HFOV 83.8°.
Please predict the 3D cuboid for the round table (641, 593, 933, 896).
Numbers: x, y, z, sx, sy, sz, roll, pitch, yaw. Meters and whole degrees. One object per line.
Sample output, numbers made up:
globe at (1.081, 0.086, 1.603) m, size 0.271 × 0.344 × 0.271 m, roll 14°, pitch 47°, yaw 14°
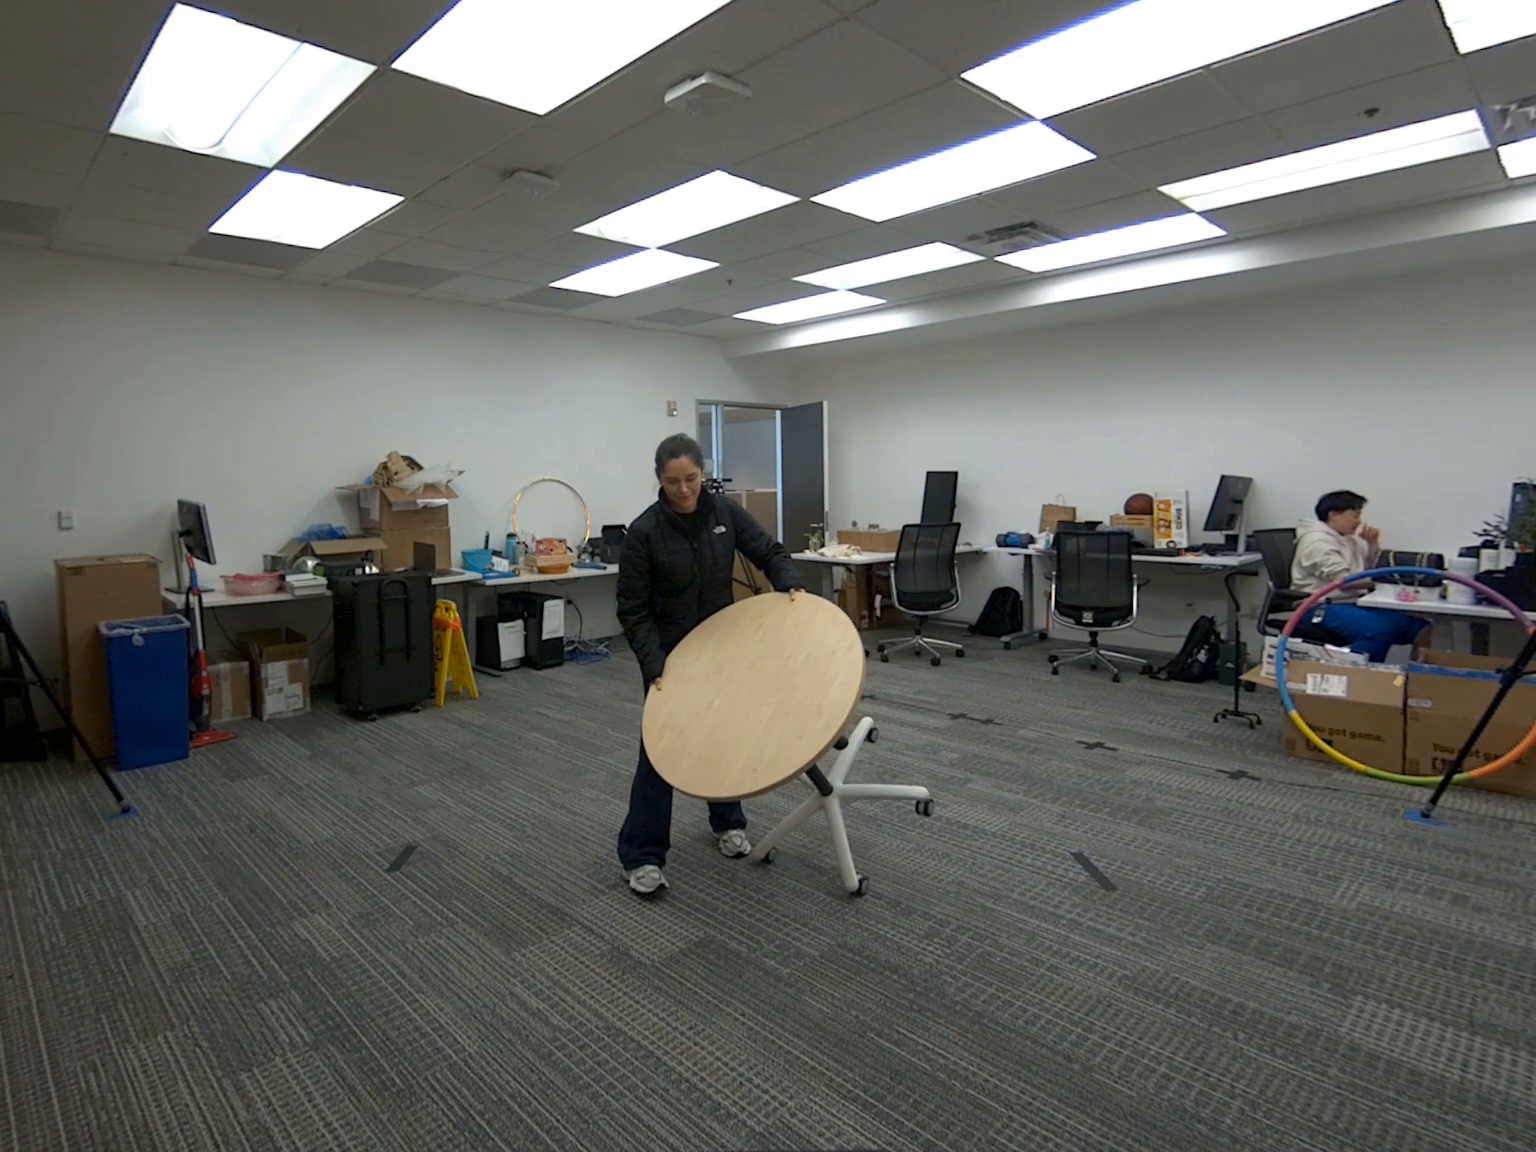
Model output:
round table at (0.103, 0.595, 2.934) m, size 0.792 × 0.757 × 0.807 m, roll -20°, pitch 40°, yaw 16°
